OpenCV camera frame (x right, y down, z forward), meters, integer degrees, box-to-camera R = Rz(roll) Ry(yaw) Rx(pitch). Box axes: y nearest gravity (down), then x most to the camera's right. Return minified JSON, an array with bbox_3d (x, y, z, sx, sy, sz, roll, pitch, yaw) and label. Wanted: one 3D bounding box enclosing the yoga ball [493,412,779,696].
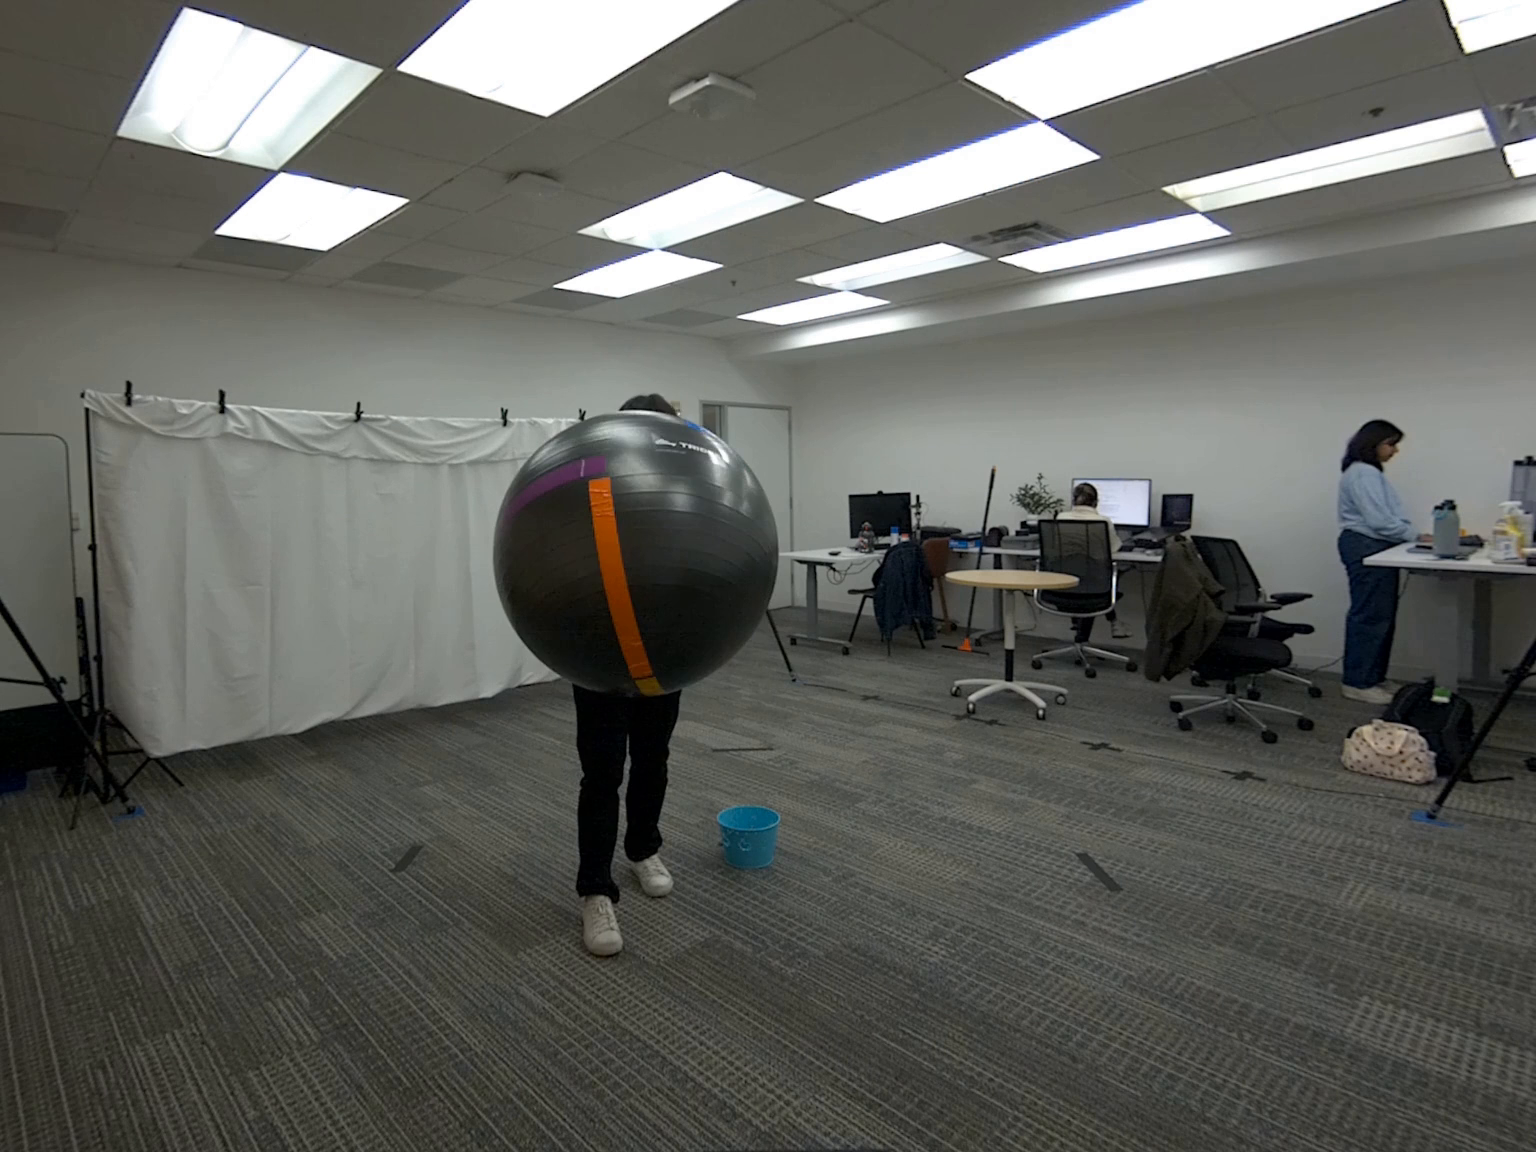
[{"bbox_3d":[-0.357,-0.058,2.284,0.757,0.755,0.762,-1,5,-2],"label":"yoga ball"}]
